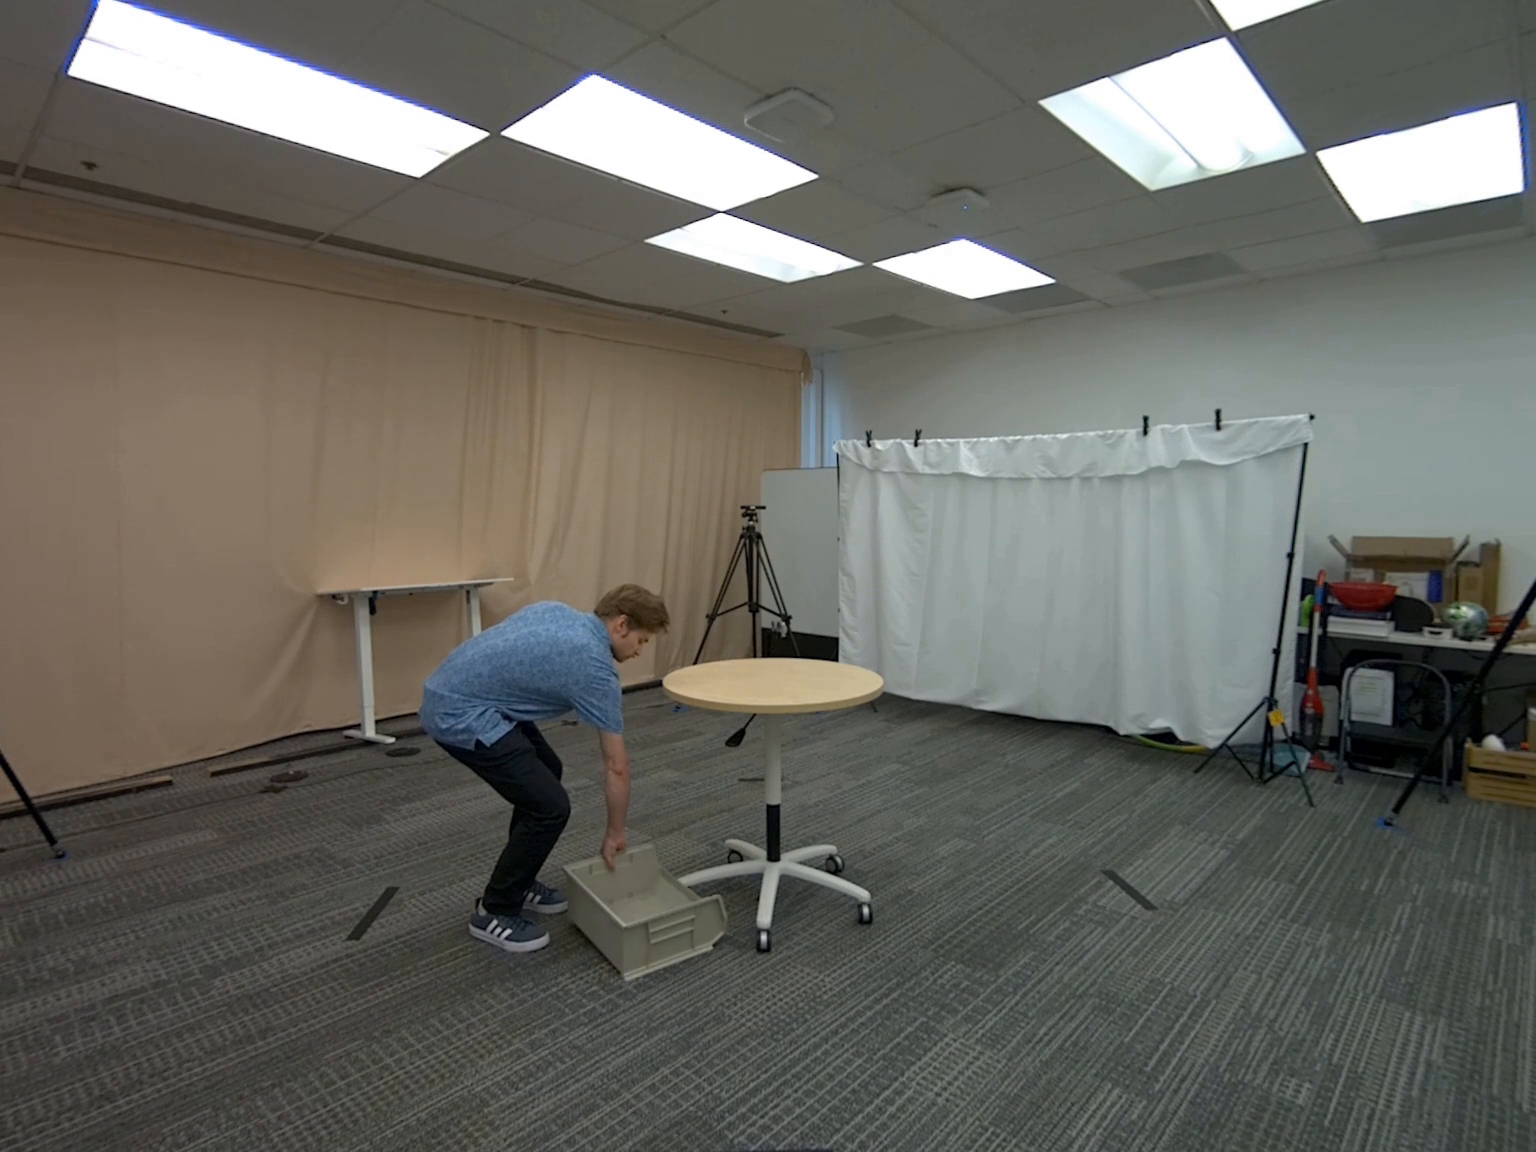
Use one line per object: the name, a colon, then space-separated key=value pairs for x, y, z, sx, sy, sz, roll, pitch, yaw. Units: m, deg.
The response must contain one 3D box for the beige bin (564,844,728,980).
beige bin: x=-0.401 y=1.066 z=2.717 sx=0.366 sy=0.188 sz=0.437 roll=-5 pitch=11 yaw=-37
